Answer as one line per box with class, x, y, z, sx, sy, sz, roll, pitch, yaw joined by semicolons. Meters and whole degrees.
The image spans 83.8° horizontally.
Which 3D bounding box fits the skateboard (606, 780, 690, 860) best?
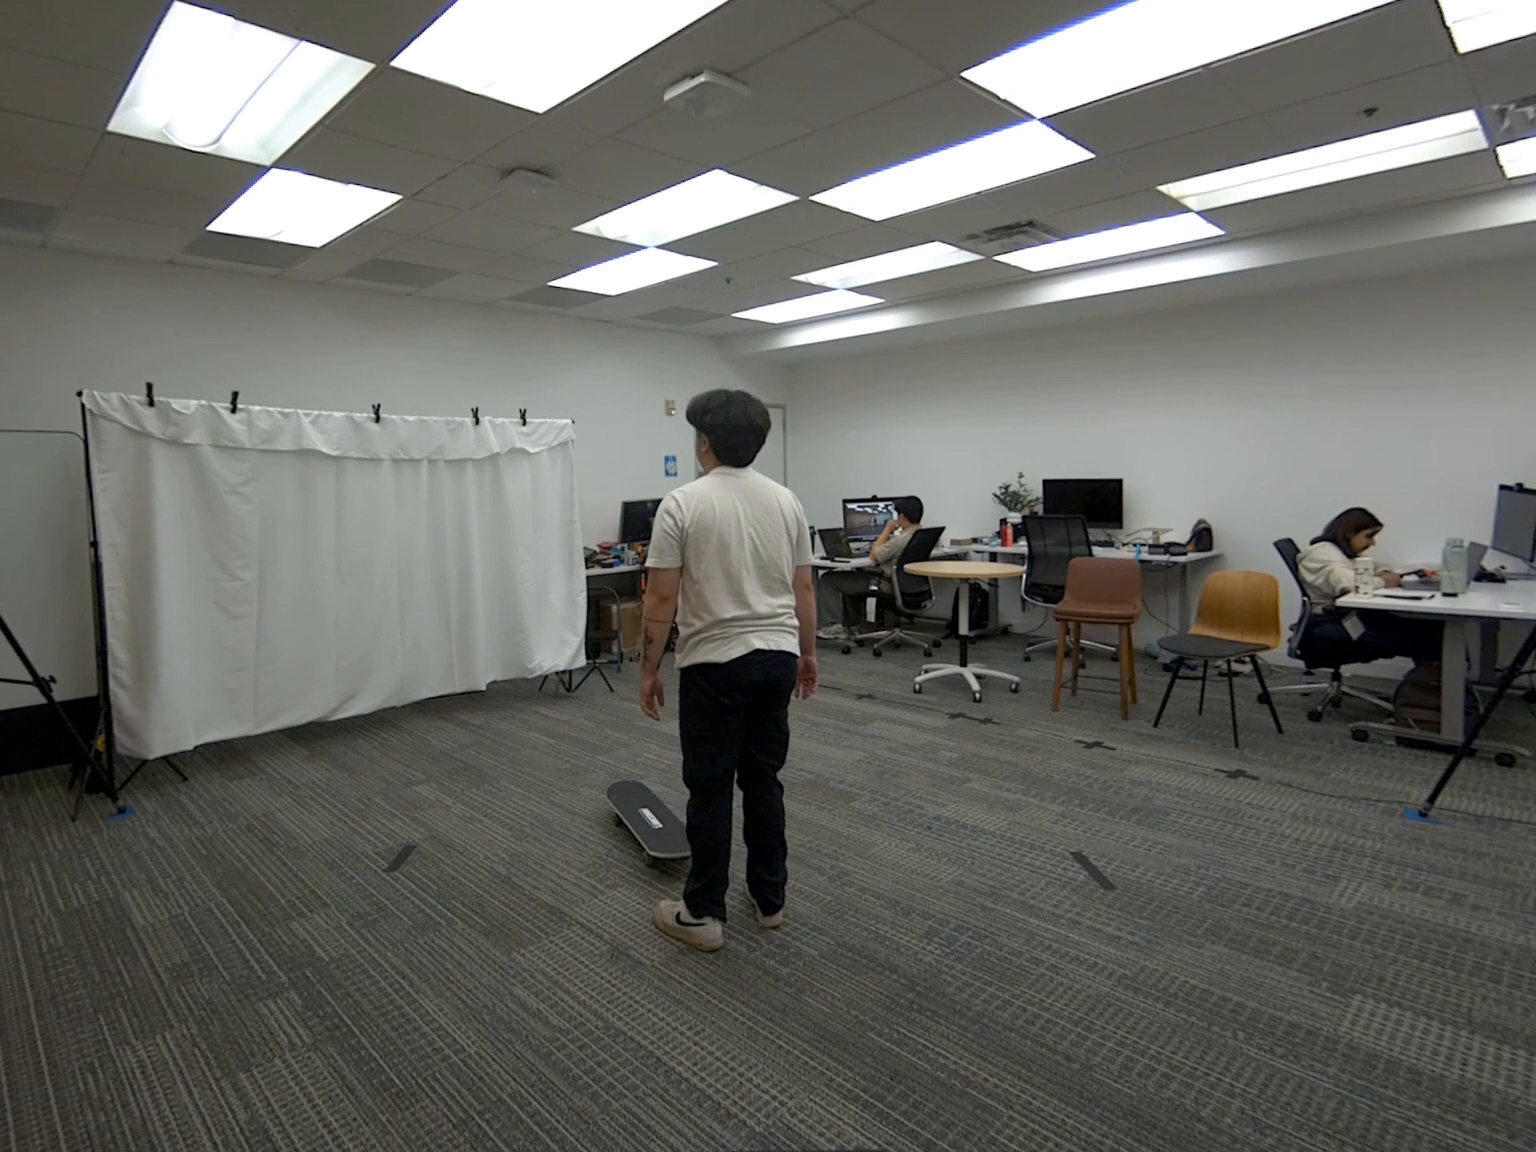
skateboard;-0.449;0.970;3.305;0.189;0.110;0.805;-3;7;-25
